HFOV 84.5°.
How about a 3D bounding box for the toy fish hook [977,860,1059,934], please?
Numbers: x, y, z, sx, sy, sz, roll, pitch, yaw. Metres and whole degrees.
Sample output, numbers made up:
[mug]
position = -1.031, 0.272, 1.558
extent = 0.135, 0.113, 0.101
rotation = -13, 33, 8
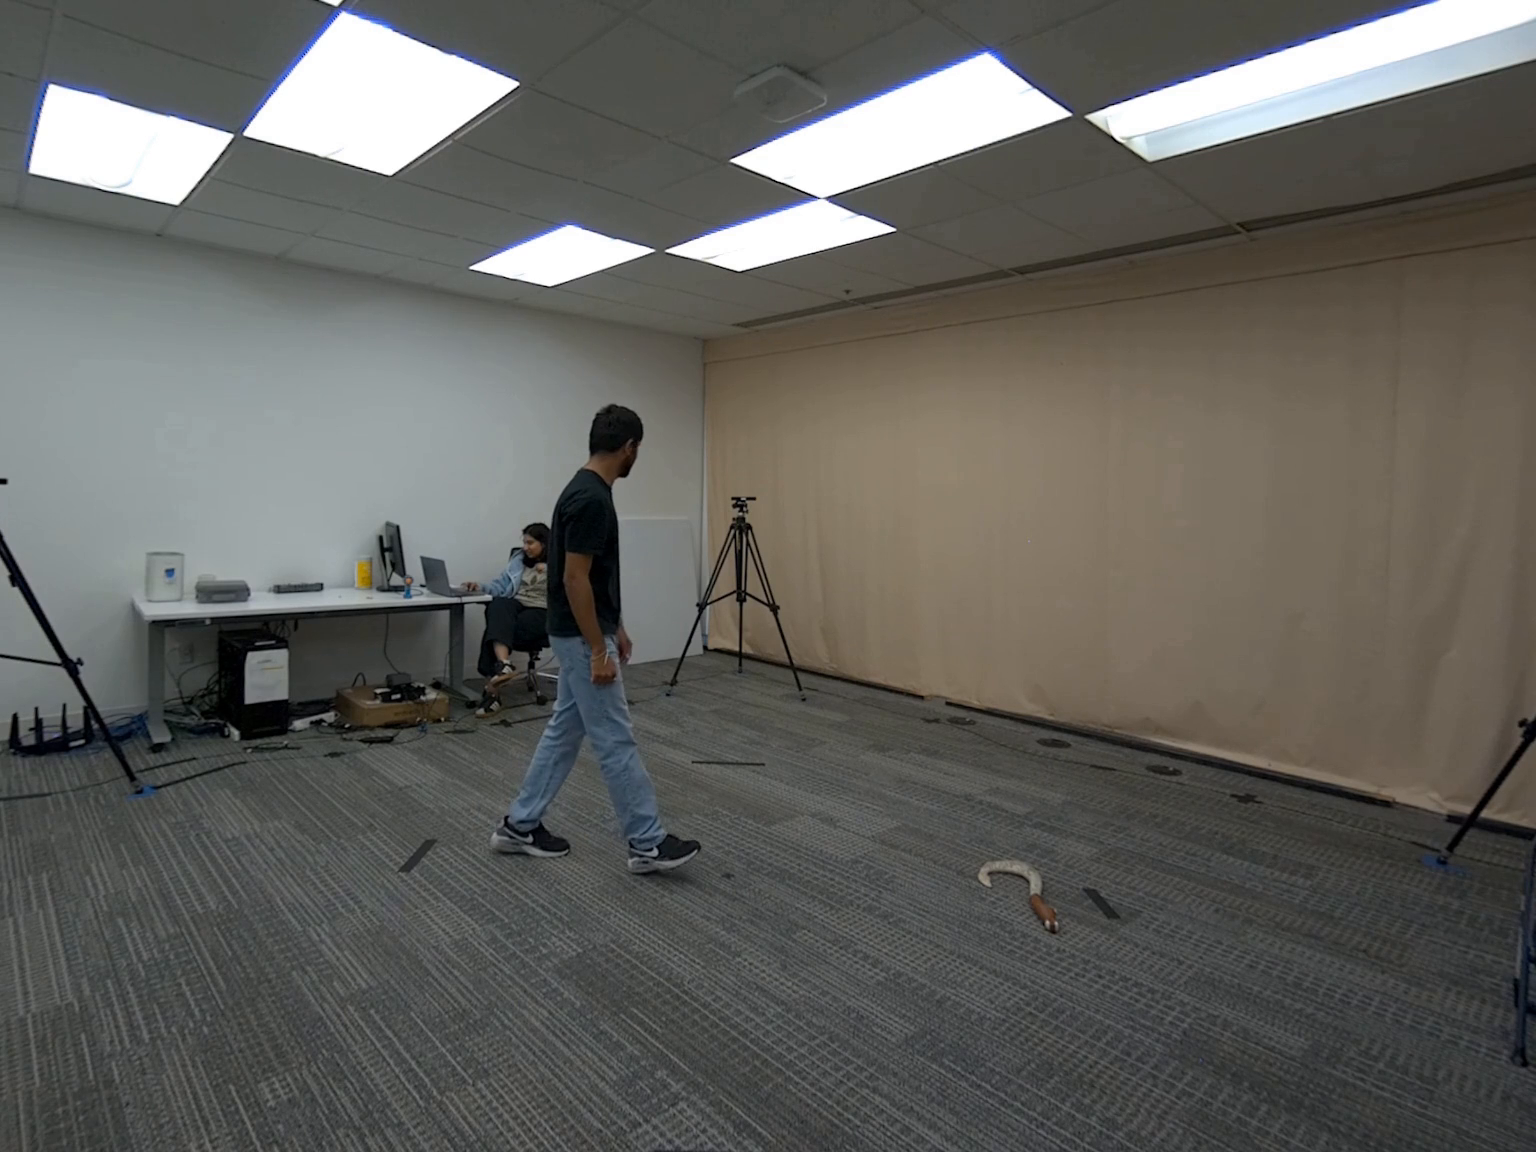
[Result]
[toy fish hook]
position = 0.879, 1.125, 2.993
extent = 0.225, 0.048, 0.506
rotation = -5, 4, 3
